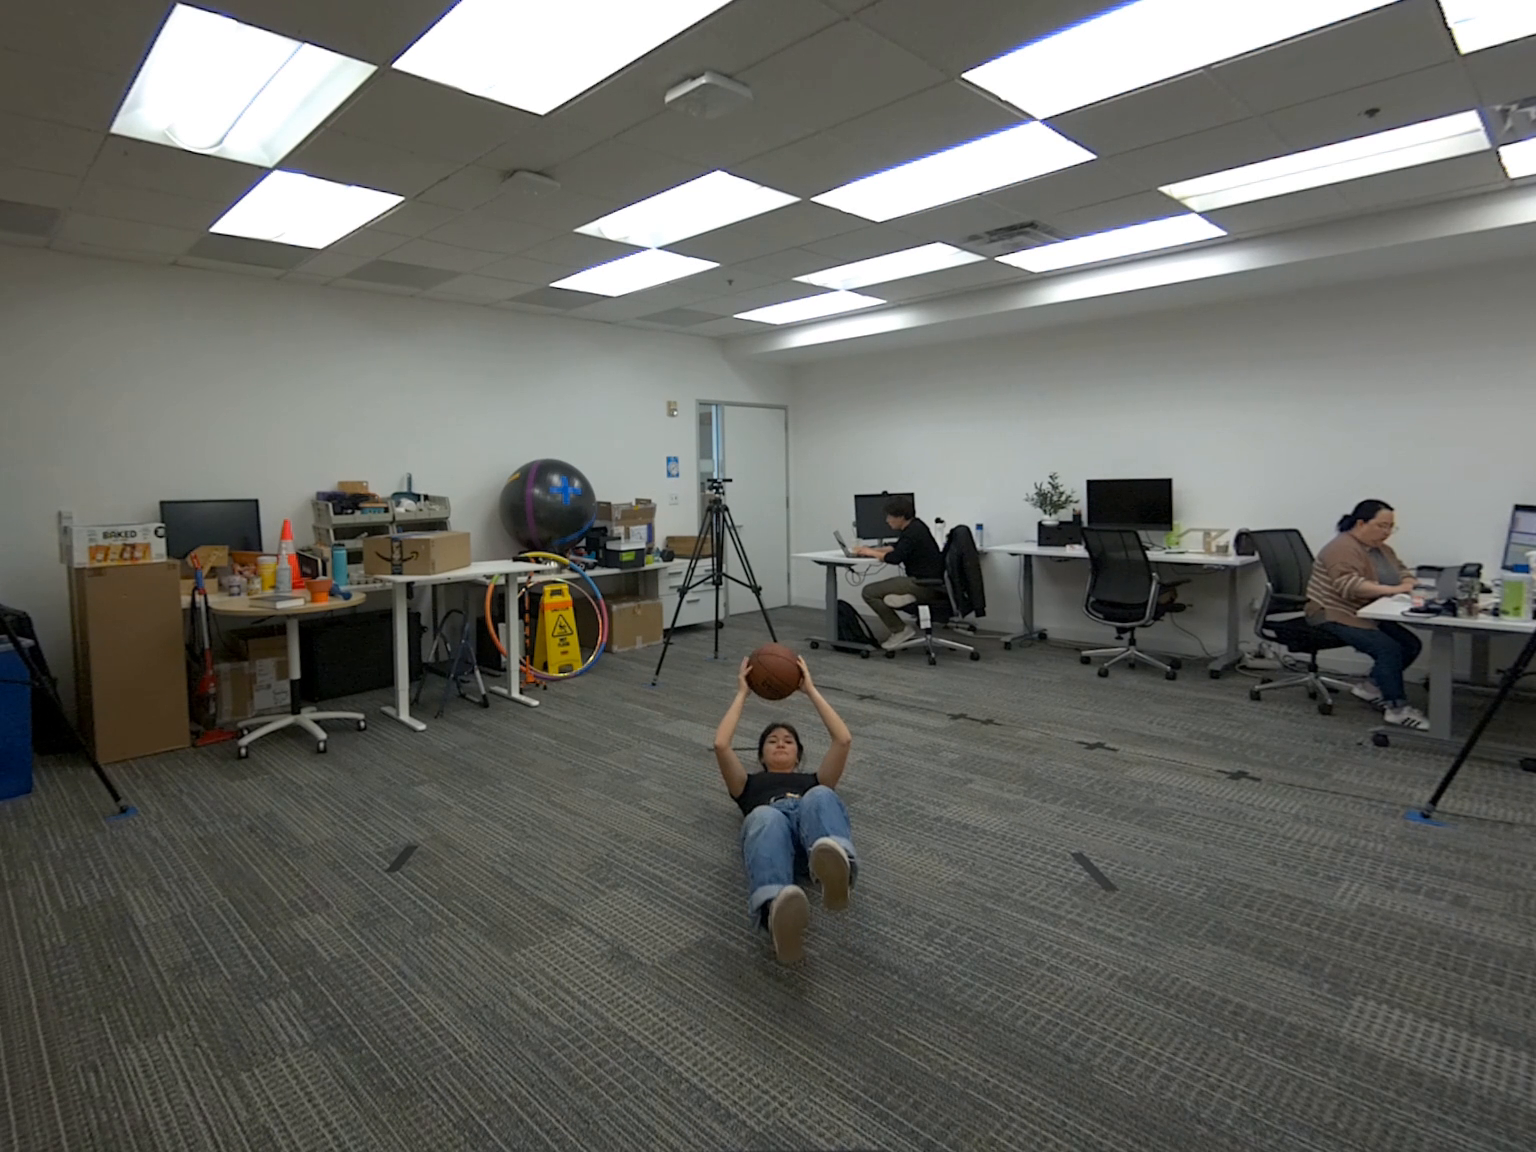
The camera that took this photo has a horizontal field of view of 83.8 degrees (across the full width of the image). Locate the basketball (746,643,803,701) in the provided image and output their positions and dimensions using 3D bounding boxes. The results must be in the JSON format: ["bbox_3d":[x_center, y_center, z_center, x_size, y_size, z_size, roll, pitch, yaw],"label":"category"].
[{"bbox_3d":[0.024,0.403,3.577,0.236,0.235,0.237,-1,5,-2],"label":"basketball"}]
